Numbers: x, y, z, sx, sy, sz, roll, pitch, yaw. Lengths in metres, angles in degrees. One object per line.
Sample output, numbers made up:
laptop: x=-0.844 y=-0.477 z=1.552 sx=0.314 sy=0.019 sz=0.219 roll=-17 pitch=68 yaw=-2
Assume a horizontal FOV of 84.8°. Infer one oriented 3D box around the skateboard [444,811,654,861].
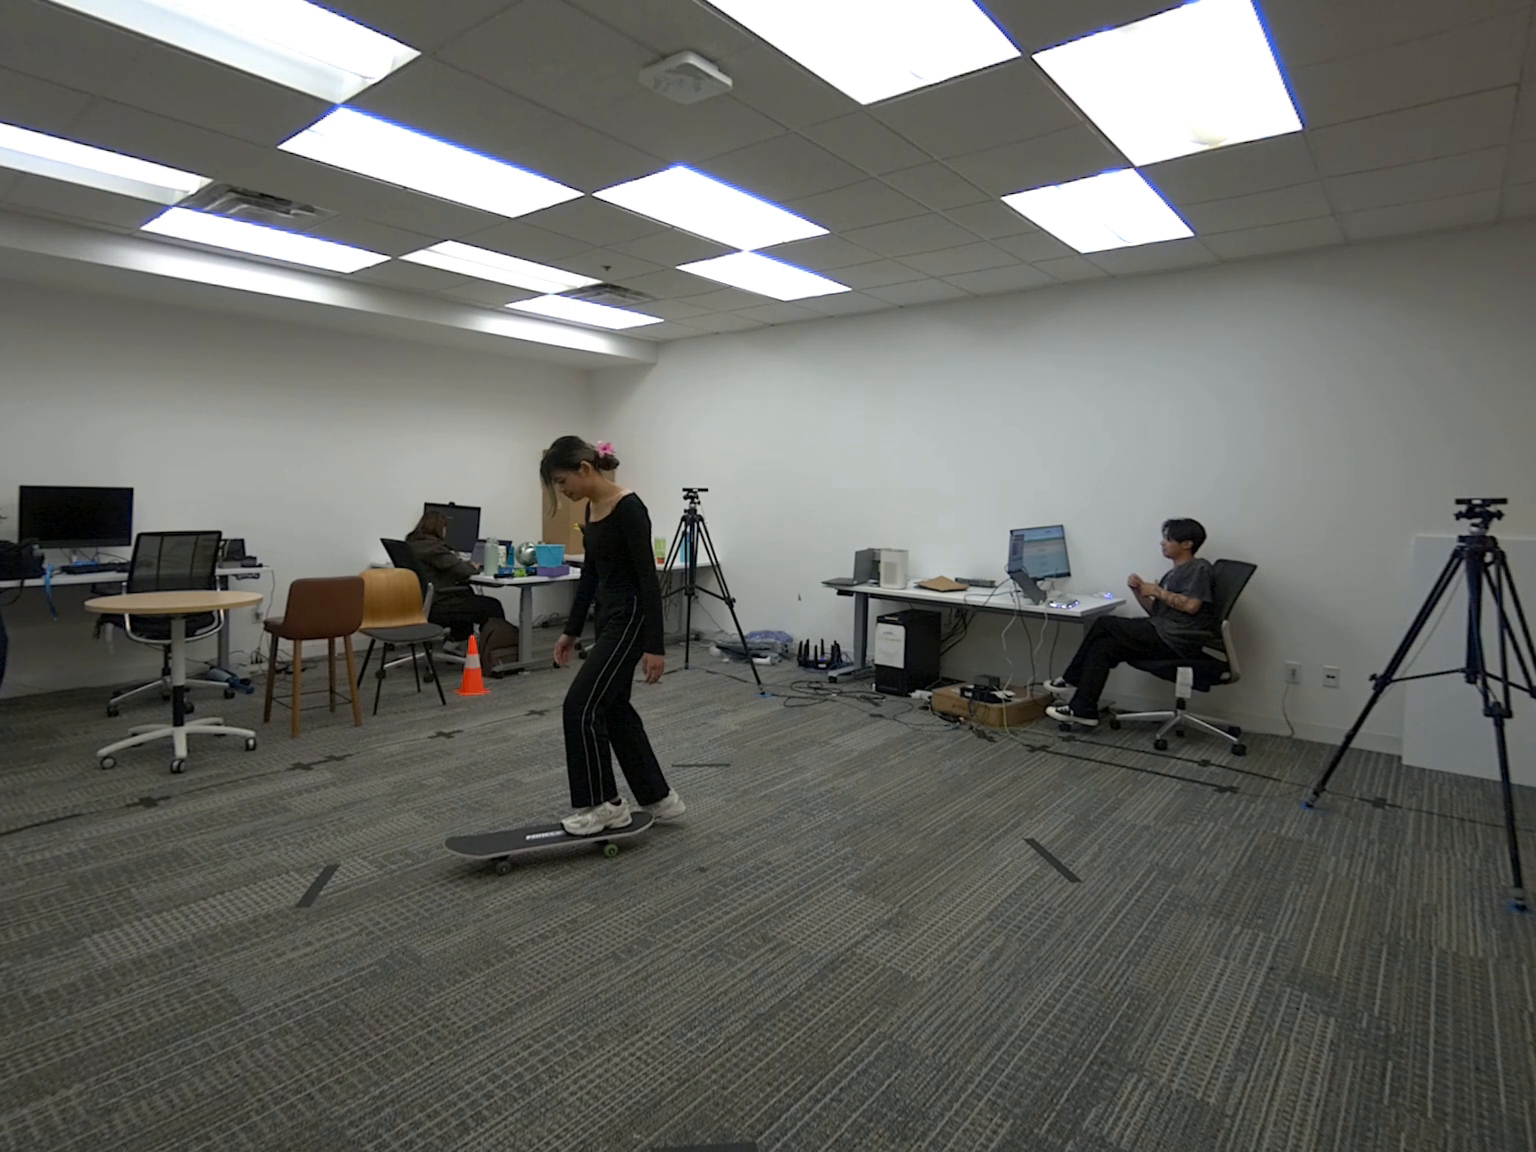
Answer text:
skateboard: x=-0.809 y=0.994 z=3.185 sx=0.767 sy=0.110 sz=0.199 roll=-1 pitch=6 yaw=-25
